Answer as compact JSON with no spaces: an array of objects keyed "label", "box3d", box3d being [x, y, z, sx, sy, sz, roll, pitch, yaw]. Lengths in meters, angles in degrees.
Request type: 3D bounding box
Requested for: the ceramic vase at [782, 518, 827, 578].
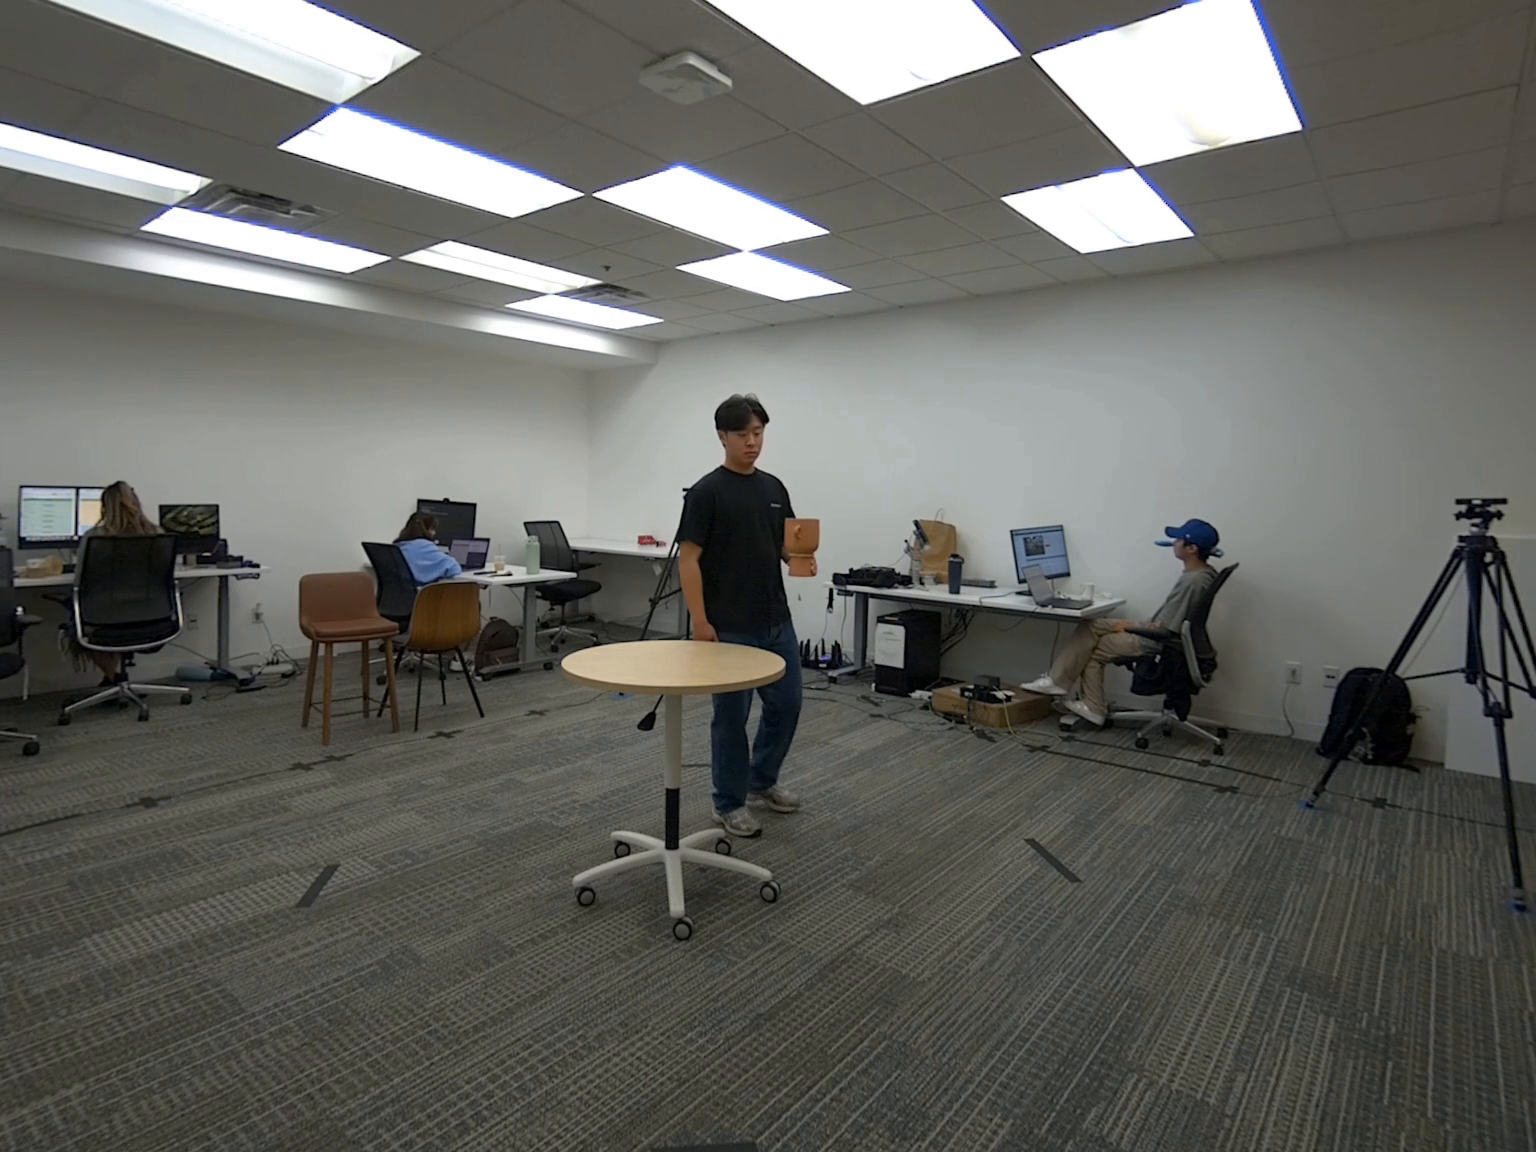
[{"label":"ceramic vase","box3d":[0.119,-0.115,3.267,0.154,0.219,0.139,-1,3,-33]}]
